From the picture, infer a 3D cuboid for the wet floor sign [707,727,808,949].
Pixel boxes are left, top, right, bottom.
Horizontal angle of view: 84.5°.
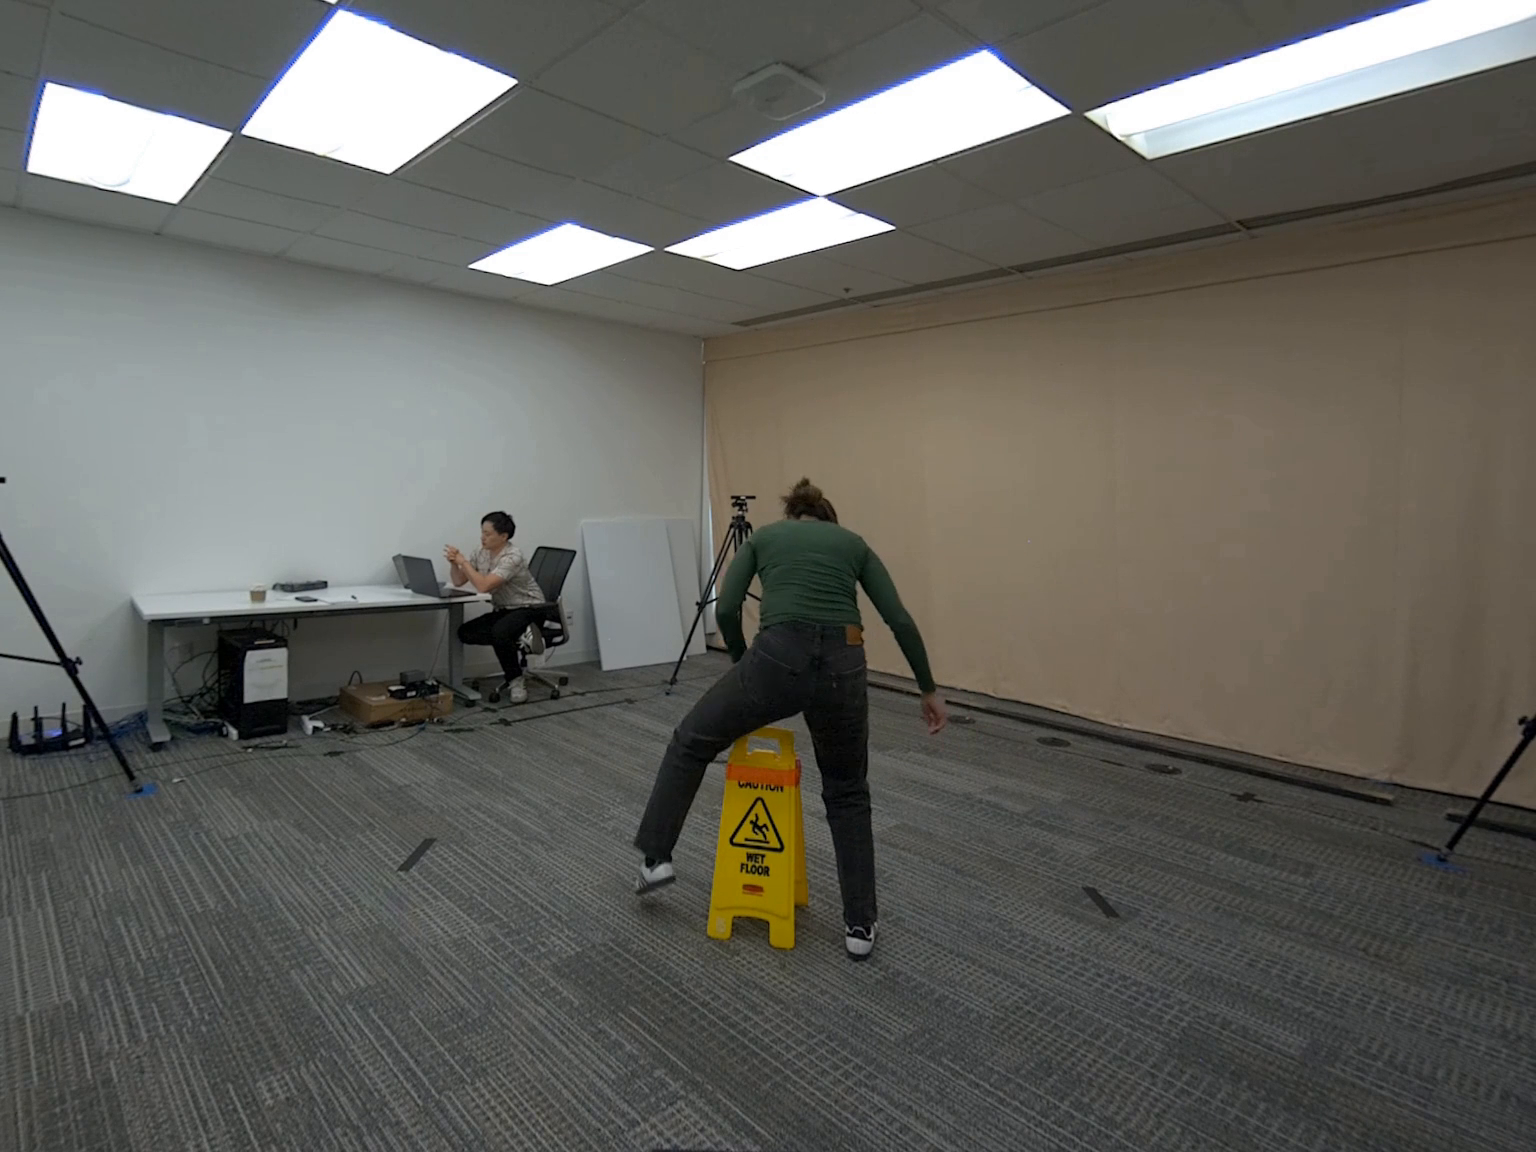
[{"bbox_3d":[-0.024,0.819,2.760,0.285,0.644,0.287,3,4,12],"label":"wet floor sign"}]
